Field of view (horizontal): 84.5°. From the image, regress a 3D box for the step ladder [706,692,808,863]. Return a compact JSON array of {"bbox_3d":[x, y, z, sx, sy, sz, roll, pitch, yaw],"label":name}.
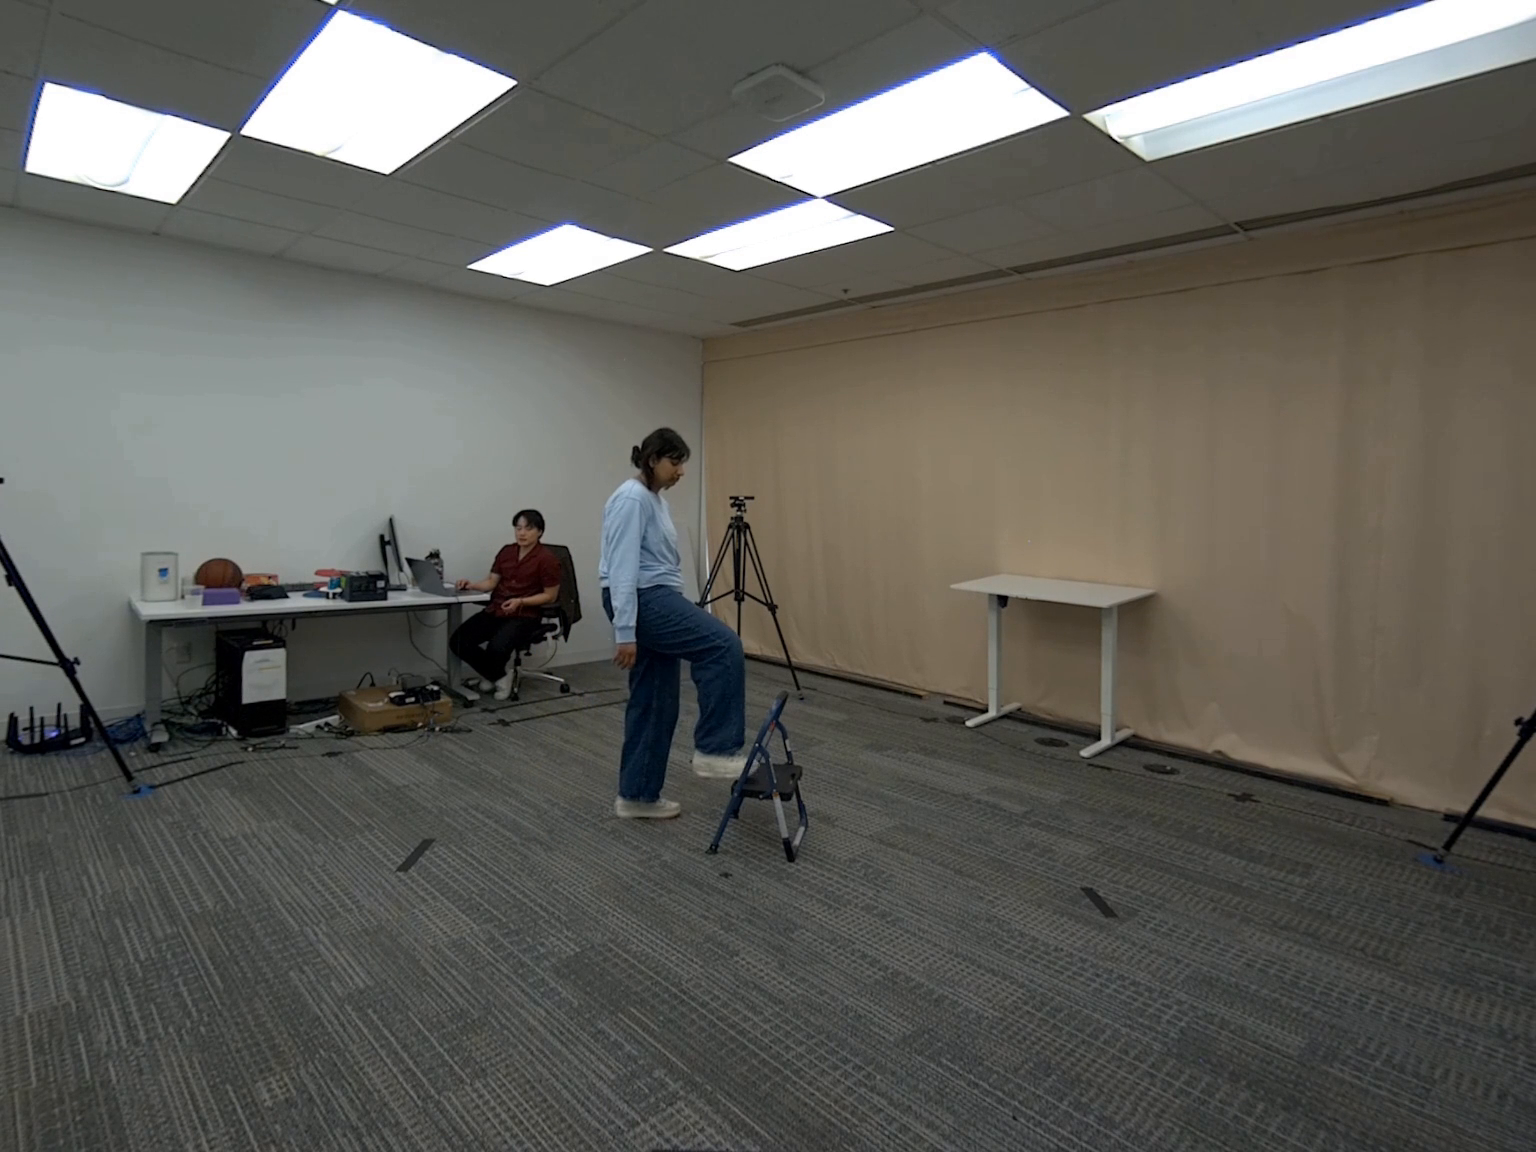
[{"bbox_3d":[-0.029,0.777,3.439,0.353,0.604,0.427,2,4,11],"label":"step ladder"}]
